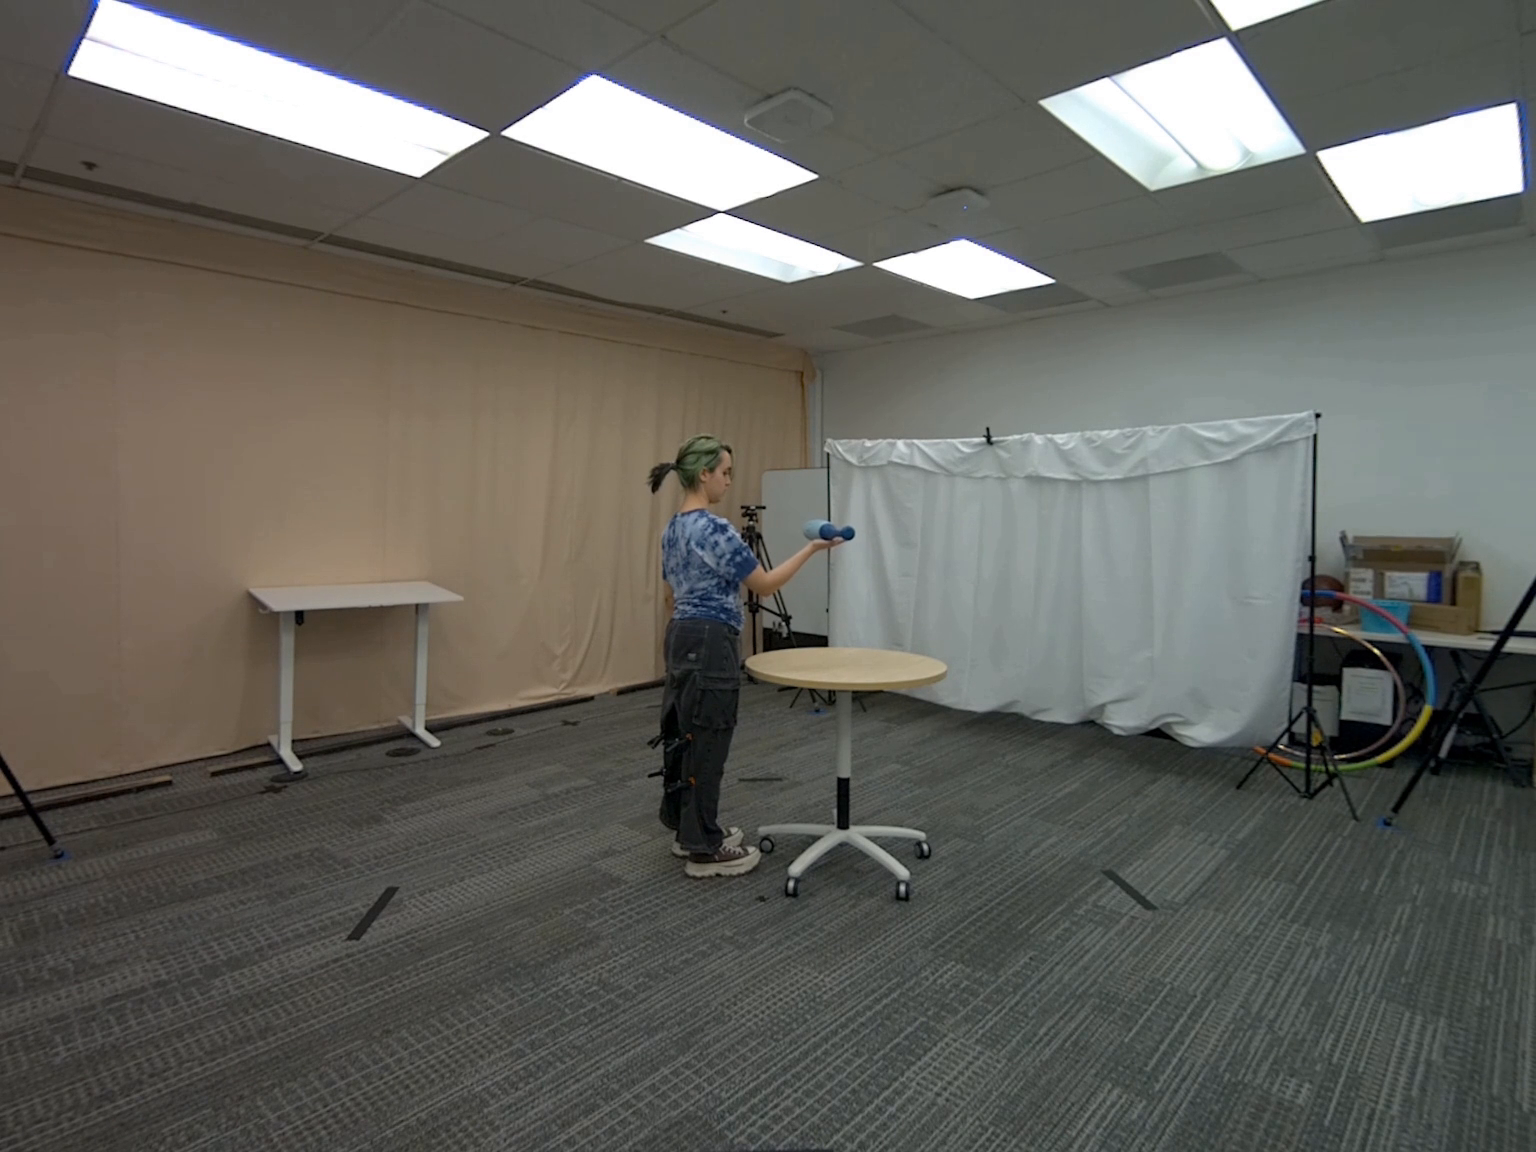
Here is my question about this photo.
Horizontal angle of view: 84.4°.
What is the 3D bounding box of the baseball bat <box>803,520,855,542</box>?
[{"bbox_3d":[0.242,-0.157,3.171,0.088,0.089,0.551,-1,6,-12],"label":"baseball bat"}]
